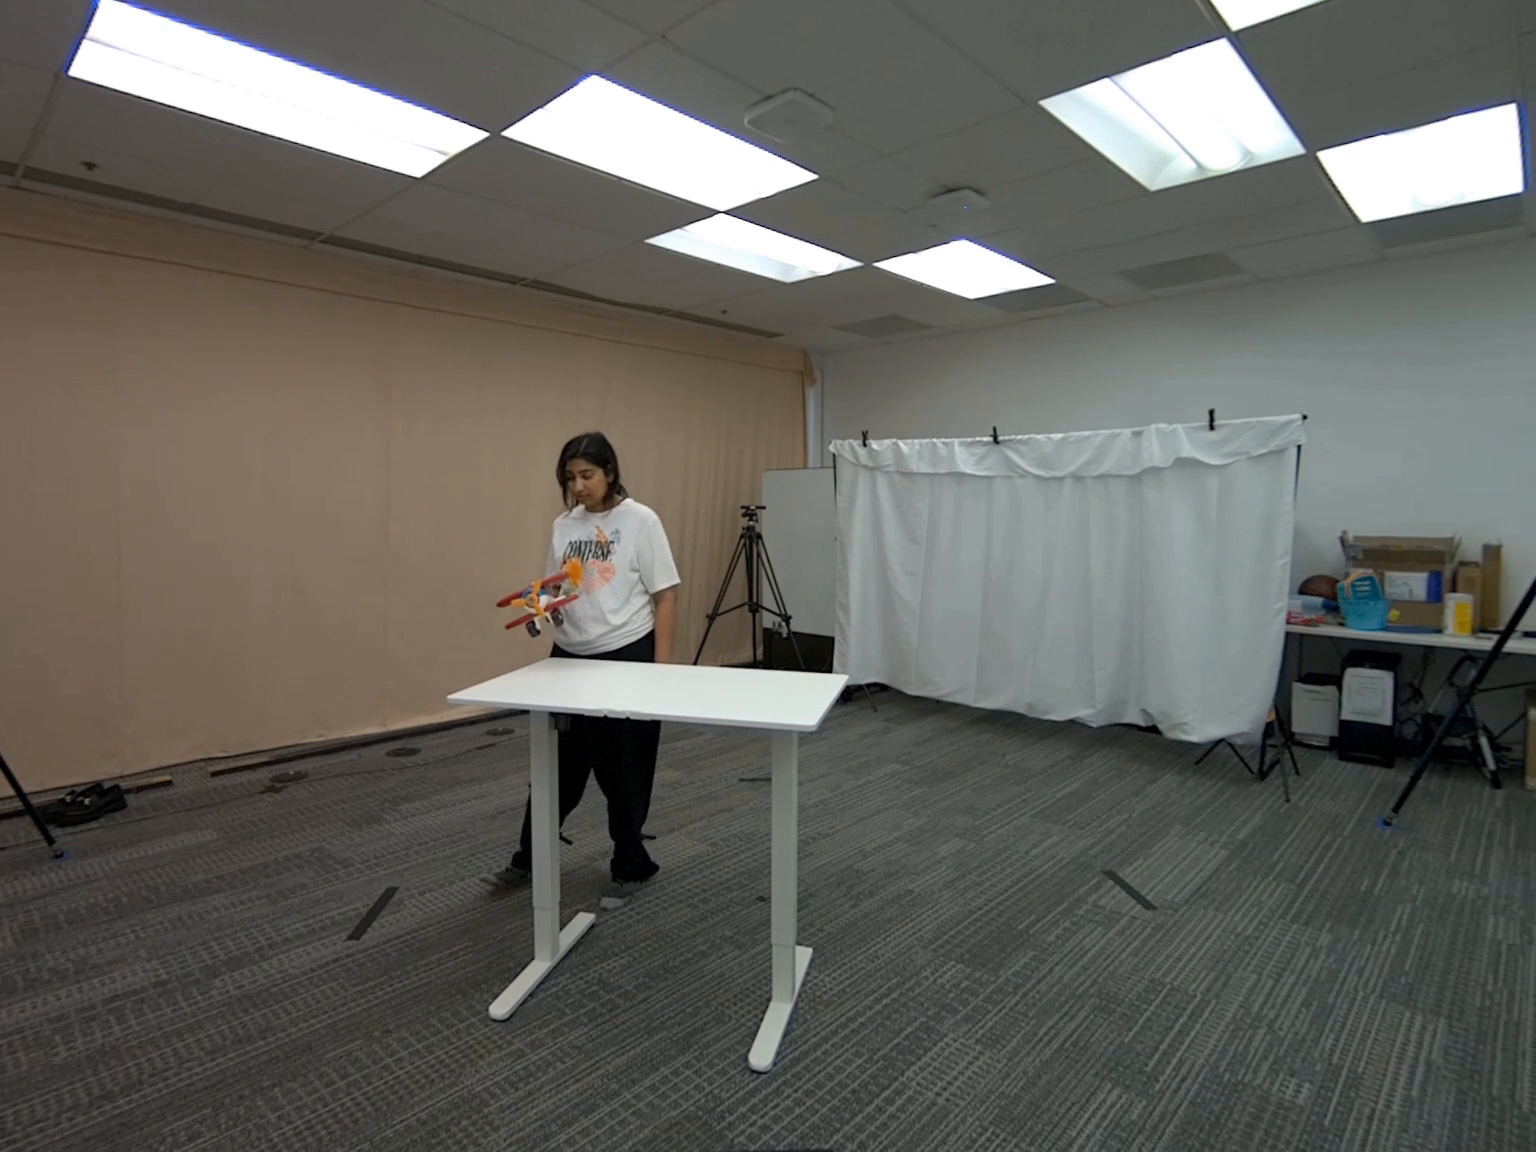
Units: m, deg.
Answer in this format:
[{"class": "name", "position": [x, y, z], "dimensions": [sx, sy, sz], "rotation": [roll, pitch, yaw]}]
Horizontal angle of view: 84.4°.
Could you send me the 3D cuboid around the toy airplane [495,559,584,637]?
[{"class": "toy airplane", "position": [-0.763, 0.101, 2.775], "dimensions": [0.247, 0.155, 0.266], "rotation": [-30, 14, -29]}]
